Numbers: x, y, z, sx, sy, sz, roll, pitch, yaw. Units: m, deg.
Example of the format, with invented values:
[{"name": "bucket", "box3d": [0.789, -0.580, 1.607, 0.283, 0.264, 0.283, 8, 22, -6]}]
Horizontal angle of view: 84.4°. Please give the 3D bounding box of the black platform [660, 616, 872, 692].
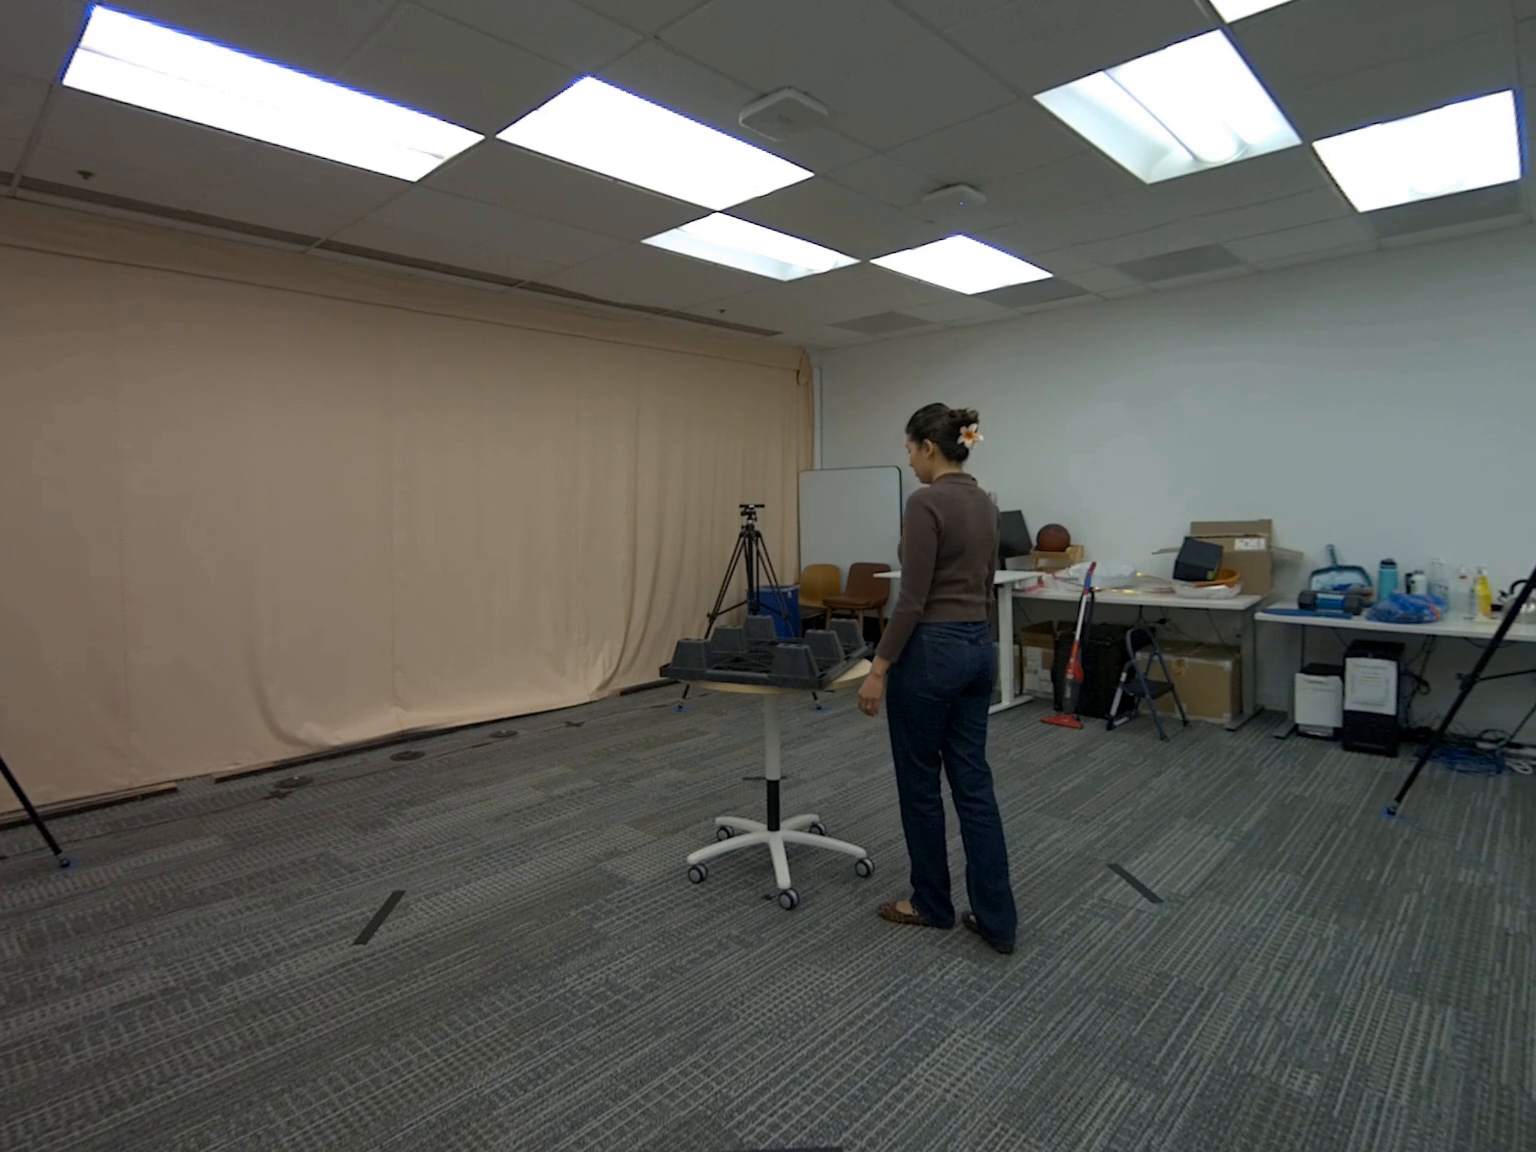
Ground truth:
[{"name": "black platform", "box3d": [0.030, 0.271, 3.211, 0.618, 0.143, 0.790, 1, 5, 20]}]
